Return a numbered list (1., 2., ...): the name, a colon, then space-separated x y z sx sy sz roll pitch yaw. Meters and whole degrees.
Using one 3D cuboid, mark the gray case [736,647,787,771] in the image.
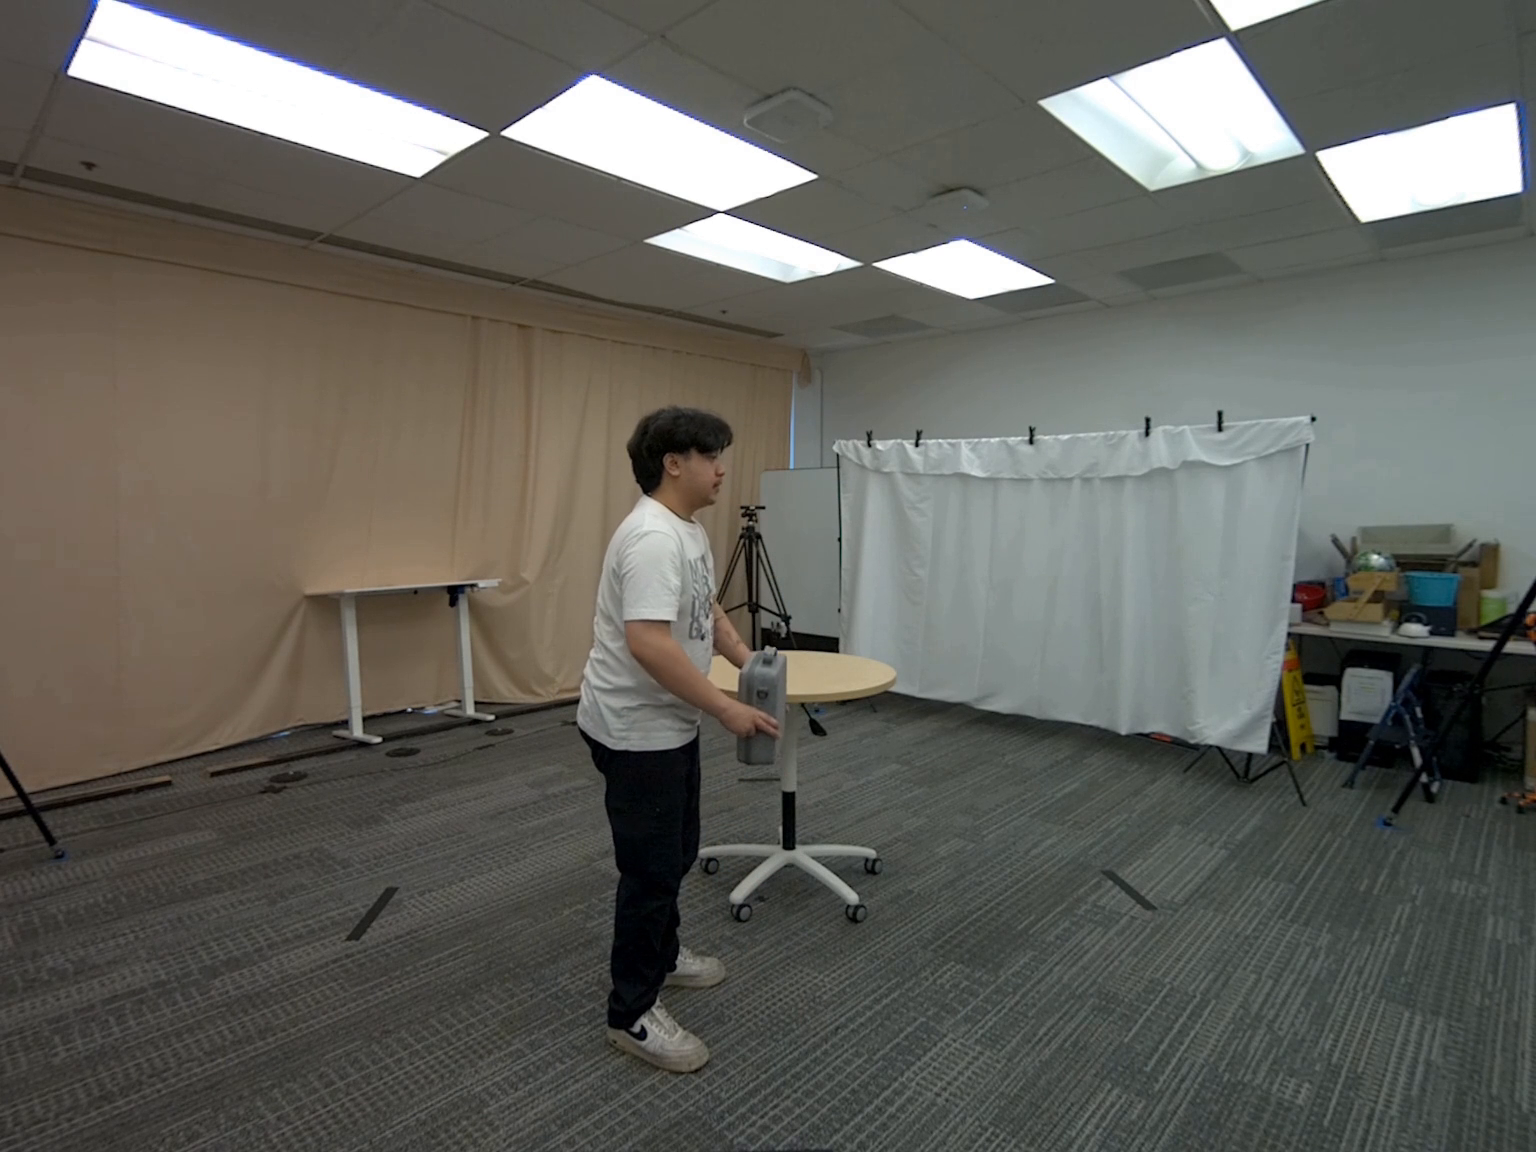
1. gray case: -0.003 0.344 2.207 0.105 0.259 0.257 4 9 1
